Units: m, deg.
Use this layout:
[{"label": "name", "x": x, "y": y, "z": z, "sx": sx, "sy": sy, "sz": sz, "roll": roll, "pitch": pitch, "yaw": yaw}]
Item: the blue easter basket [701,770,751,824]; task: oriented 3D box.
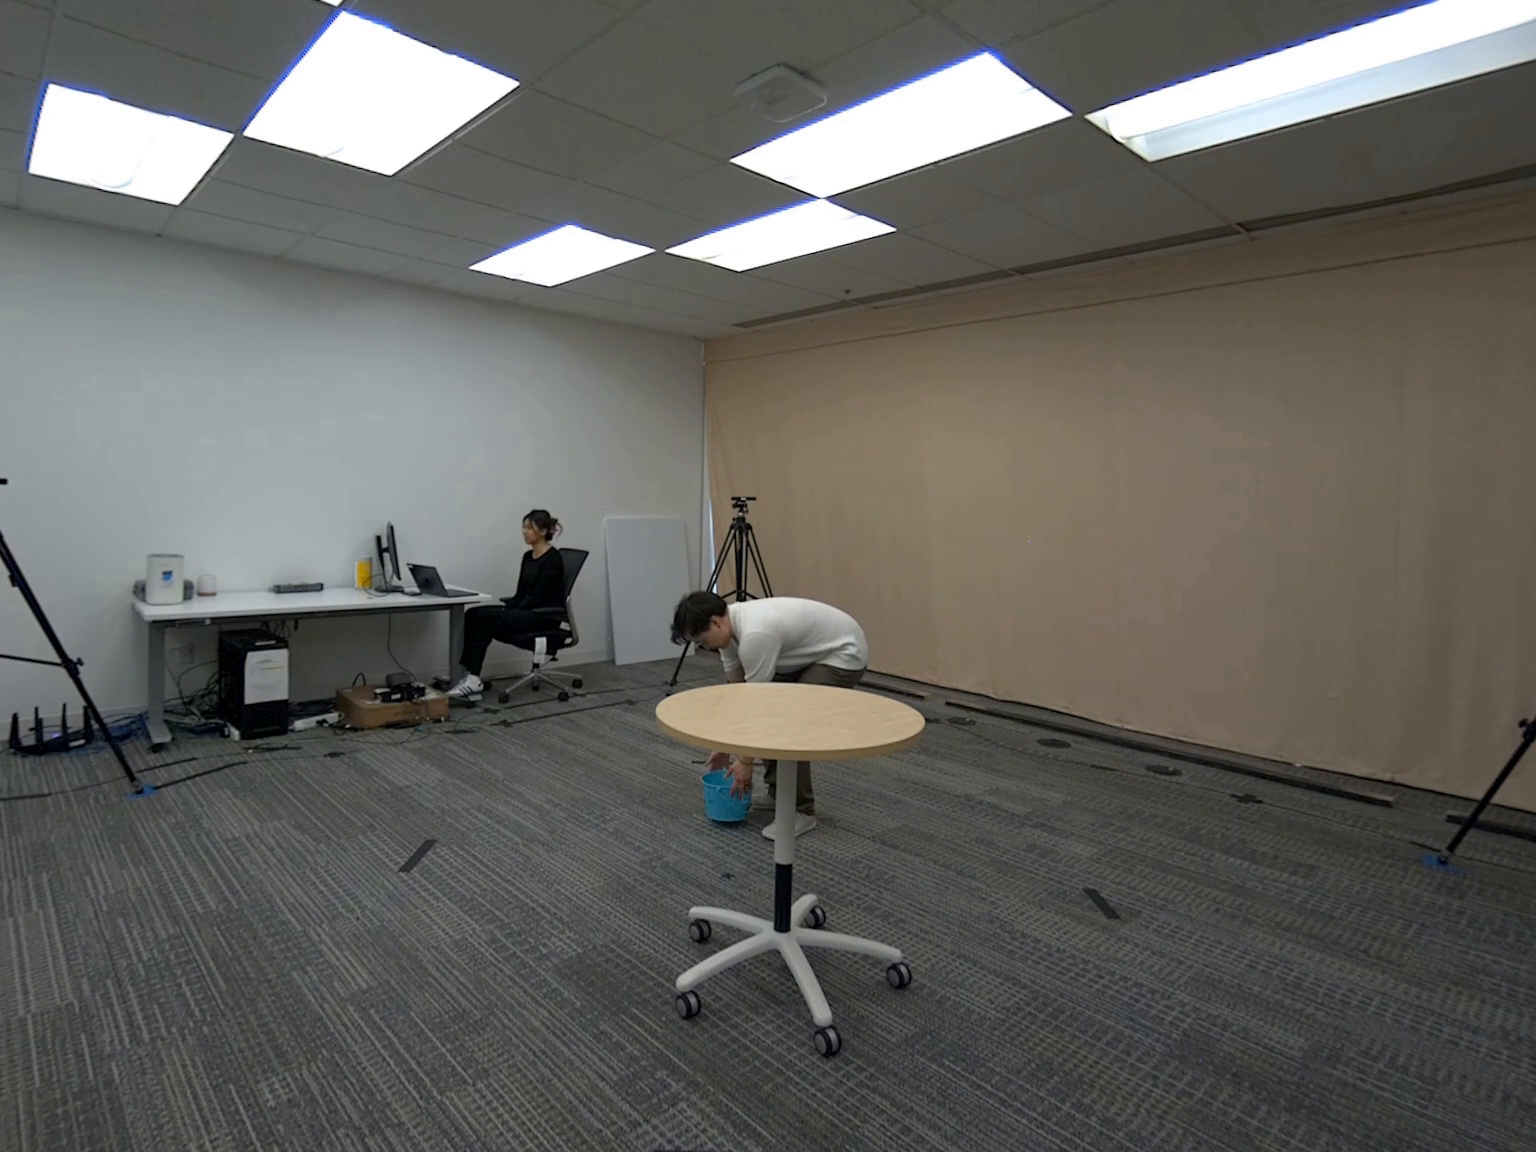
[{"label": "blue easter basket", "x": -0.174, "y": 0.937, "z": 3.611, "sx": 0.243, "sy": 0.155, "sz": 0.244, "roll": -1, "pitch": 4, "yaw": -1}]
